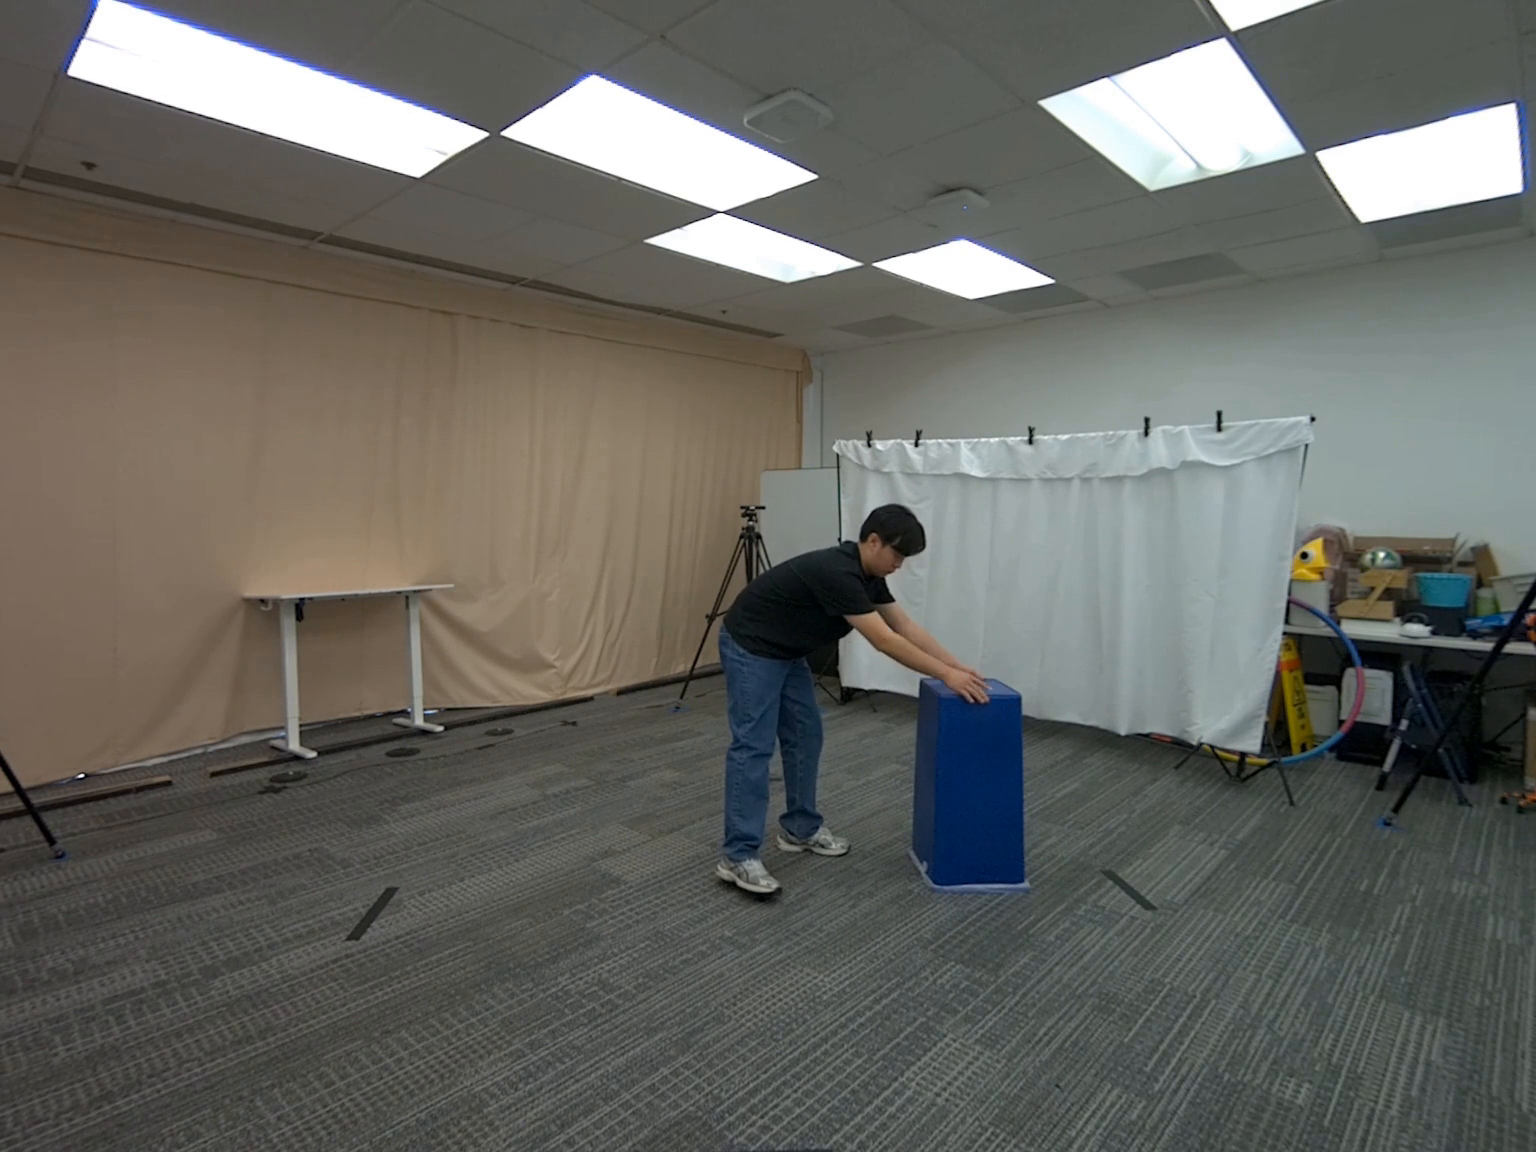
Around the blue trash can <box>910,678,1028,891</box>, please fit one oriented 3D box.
[{"bbox_3d":[0.765,0.775,3.196,0.373,0.712,0.380,1,3,-3],"label":"blue trash can"}]
